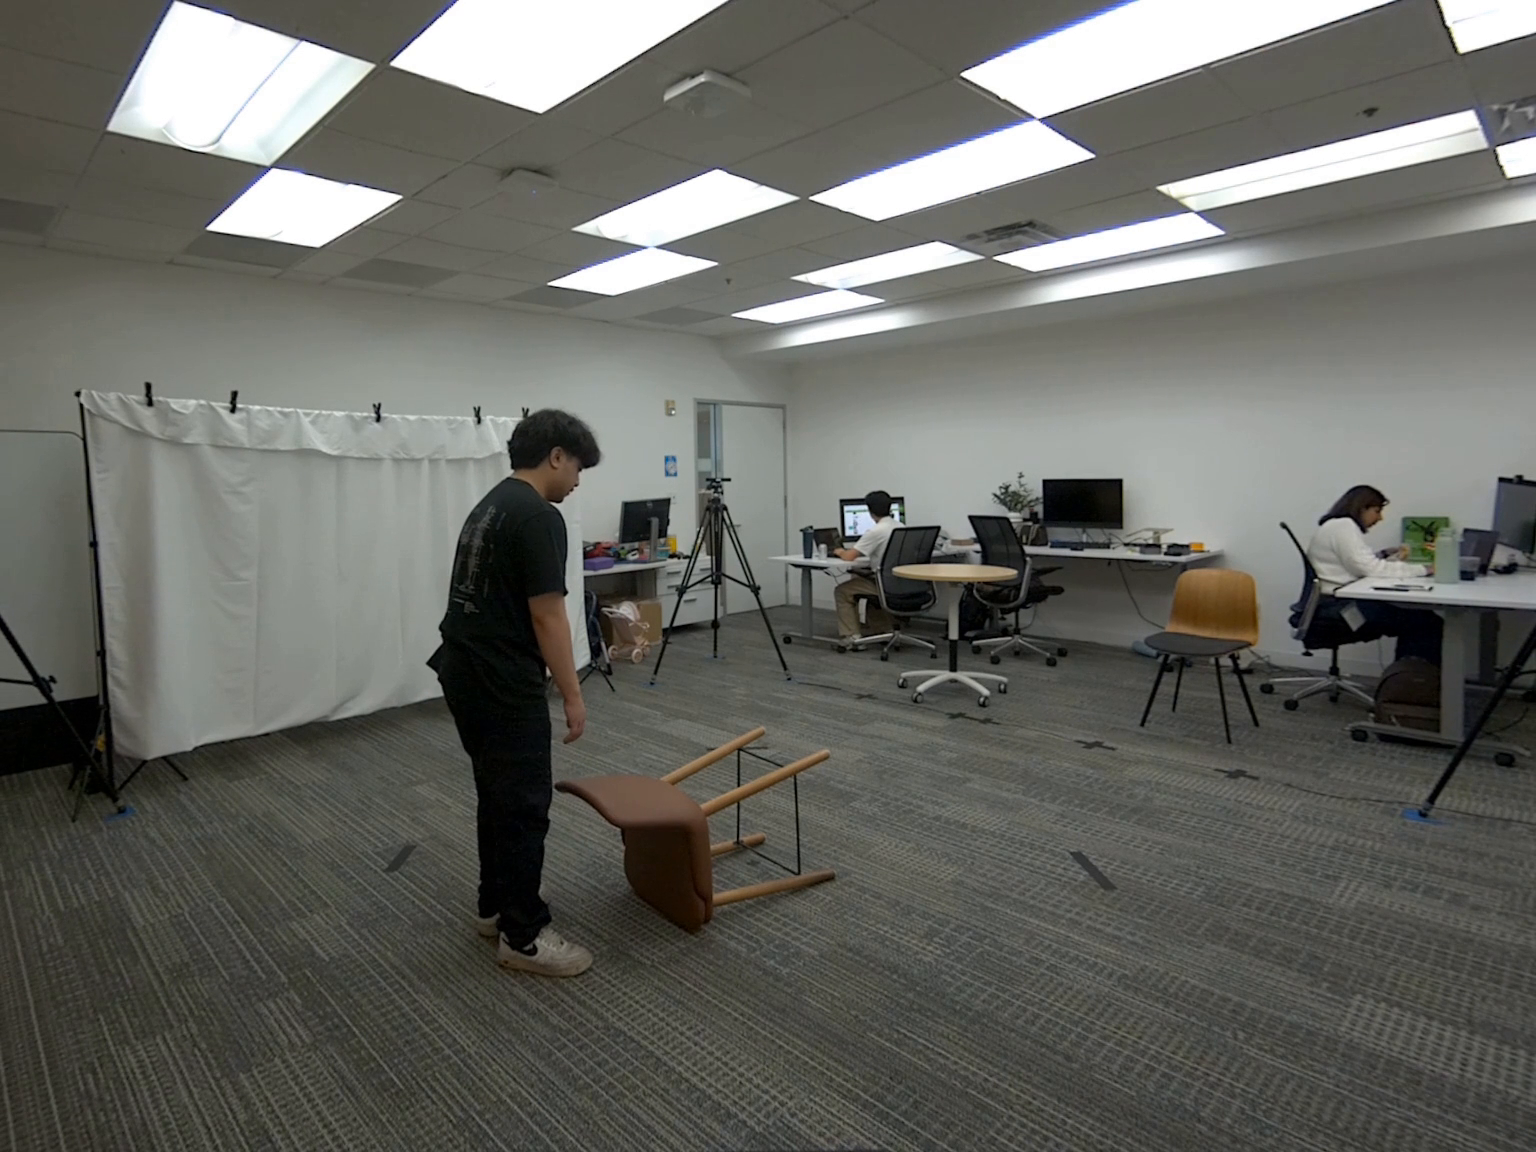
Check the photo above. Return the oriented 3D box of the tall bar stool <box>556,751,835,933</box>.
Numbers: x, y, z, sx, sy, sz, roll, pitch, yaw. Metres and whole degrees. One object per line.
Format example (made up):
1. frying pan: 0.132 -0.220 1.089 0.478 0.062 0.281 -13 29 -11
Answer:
1. tall bar stool: -0.229 0.846 2.853 0.866 0.465 0.471 -5 7 -39
